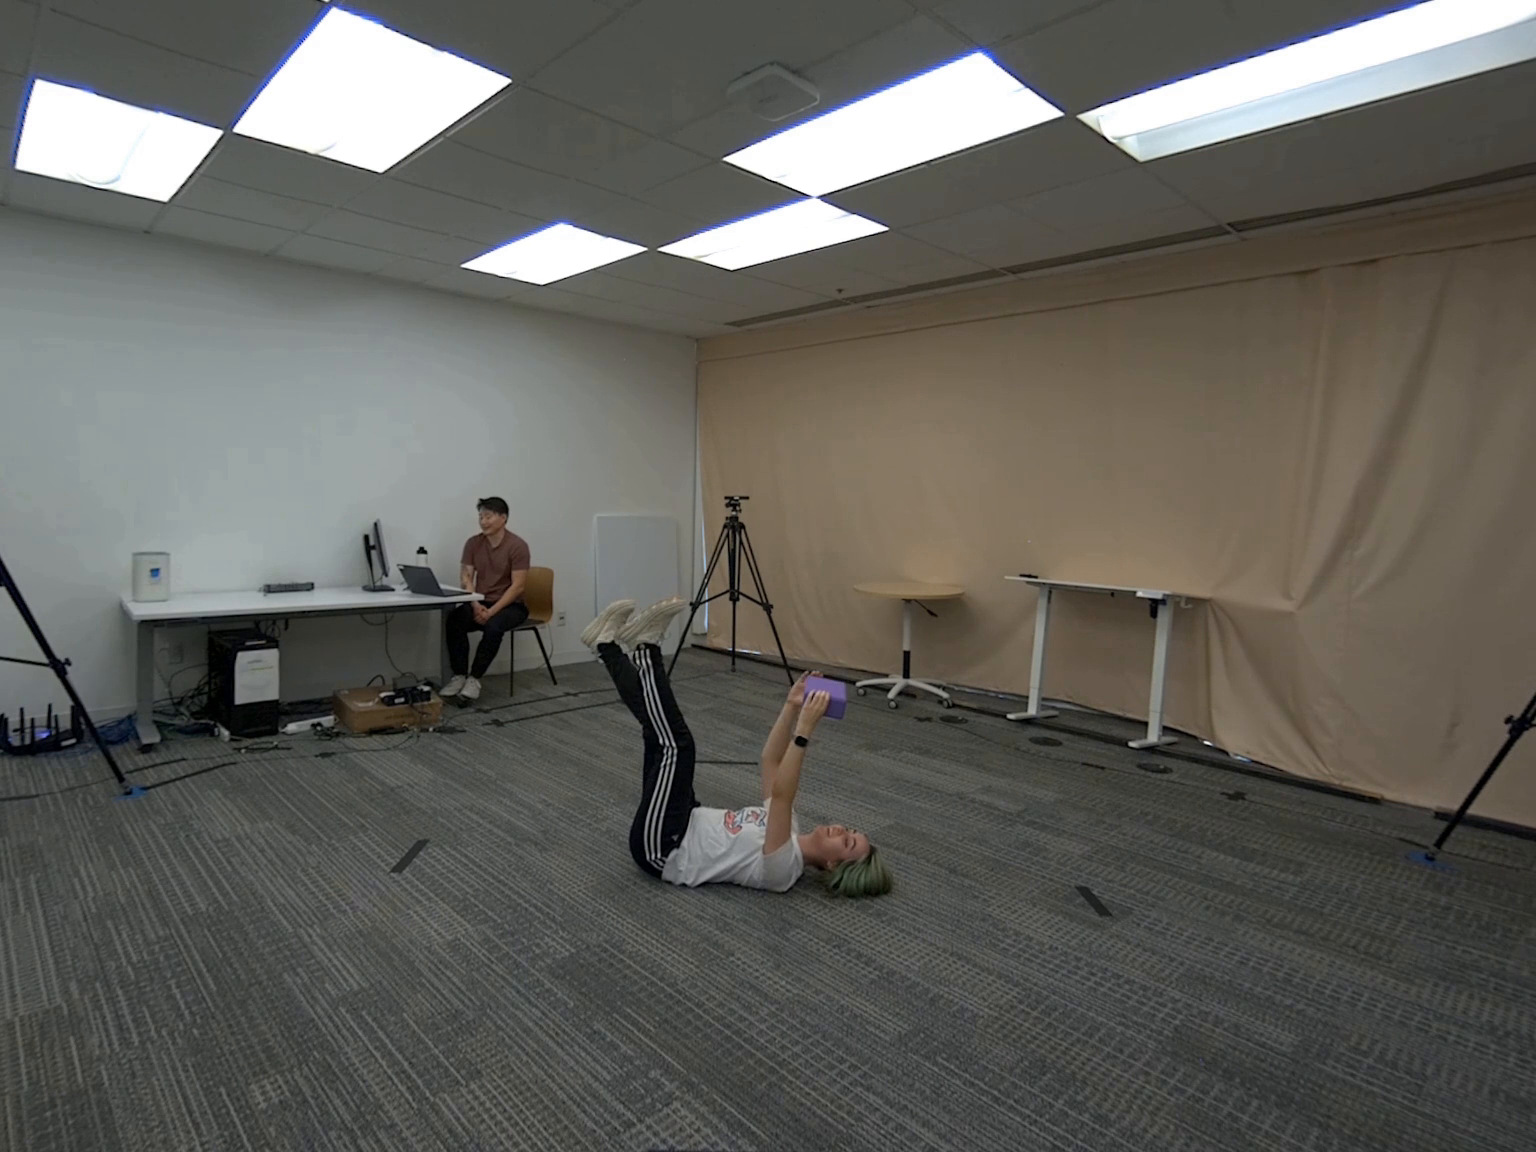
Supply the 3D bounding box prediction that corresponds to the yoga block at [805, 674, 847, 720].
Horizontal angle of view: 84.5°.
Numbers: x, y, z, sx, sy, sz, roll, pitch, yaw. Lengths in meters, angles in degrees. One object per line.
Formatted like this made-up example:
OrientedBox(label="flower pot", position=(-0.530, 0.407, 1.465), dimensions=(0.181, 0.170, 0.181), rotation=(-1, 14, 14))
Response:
OrientedBox(label="yoga block", position=(0.194, 0.440, 3.038), dimensions=(0.150, 0.076, 0.229), rotation=(10, 8, 5))
